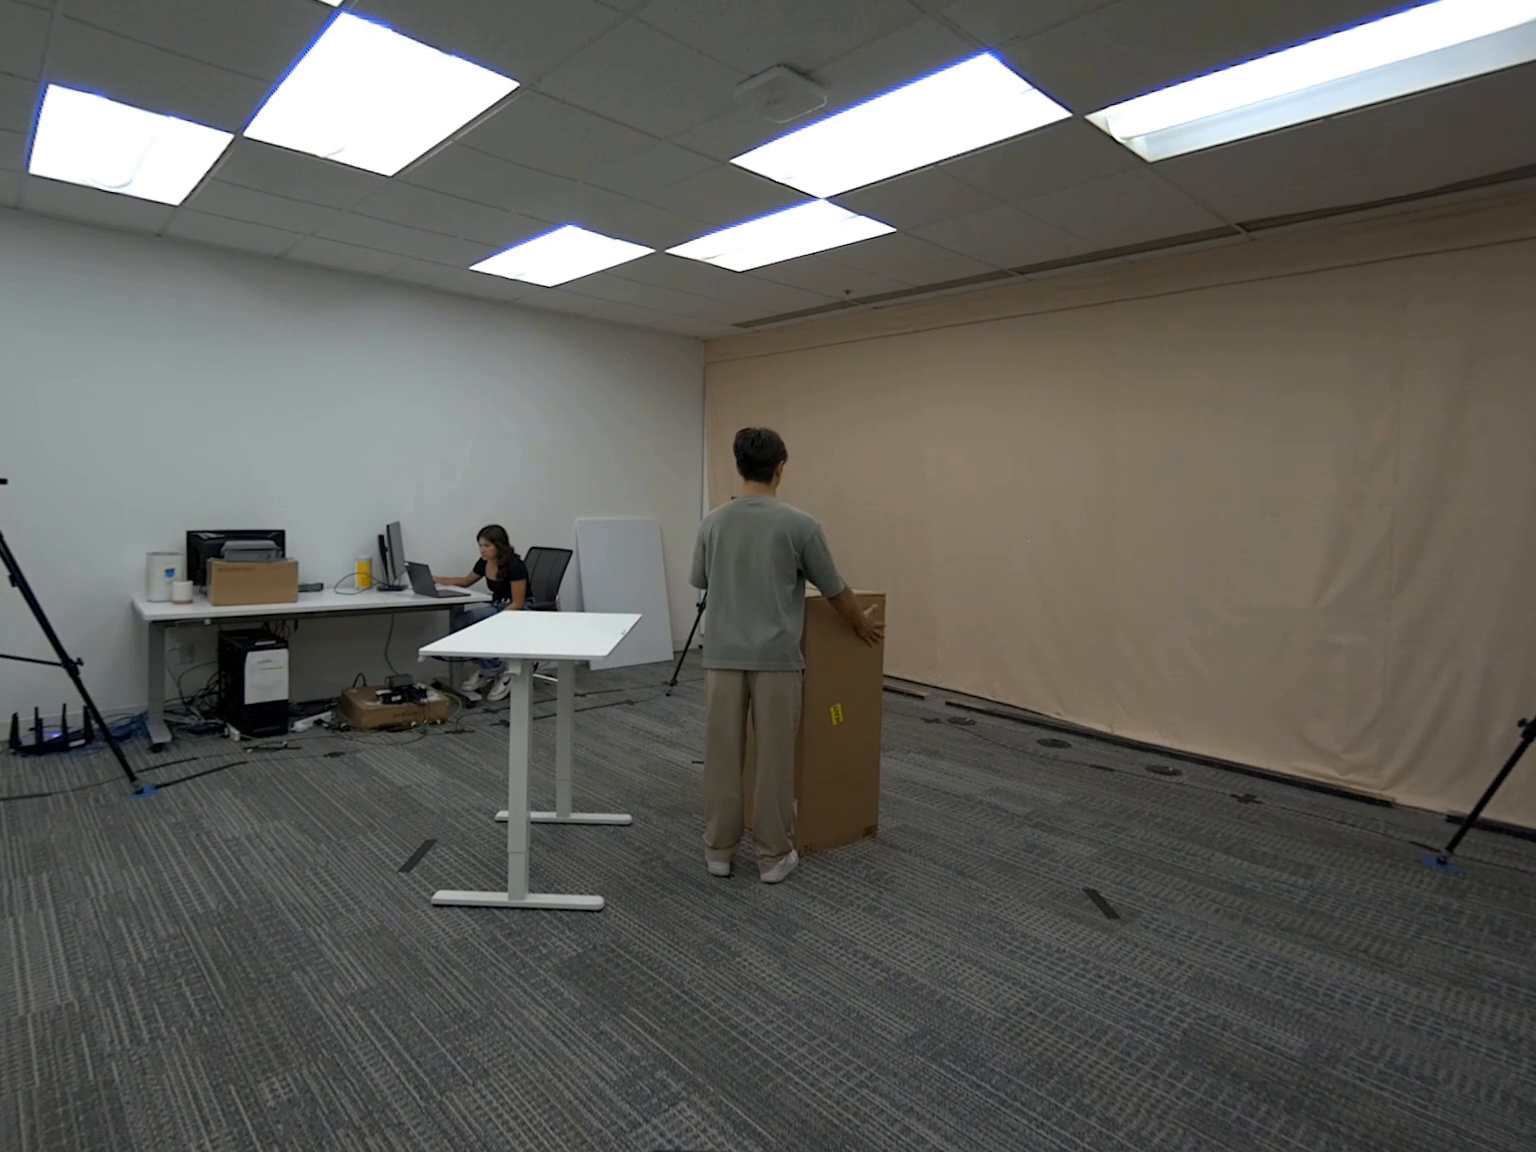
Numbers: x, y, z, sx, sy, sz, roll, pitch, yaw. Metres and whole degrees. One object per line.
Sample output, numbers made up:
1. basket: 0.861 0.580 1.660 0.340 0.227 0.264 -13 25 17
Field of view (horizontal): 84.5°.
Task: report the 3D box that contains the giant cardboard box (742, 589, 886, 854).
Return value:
1. giant cardboard box: 0.129 0.563 3.616 0.417 1.023 0.592 -1 5 -36
